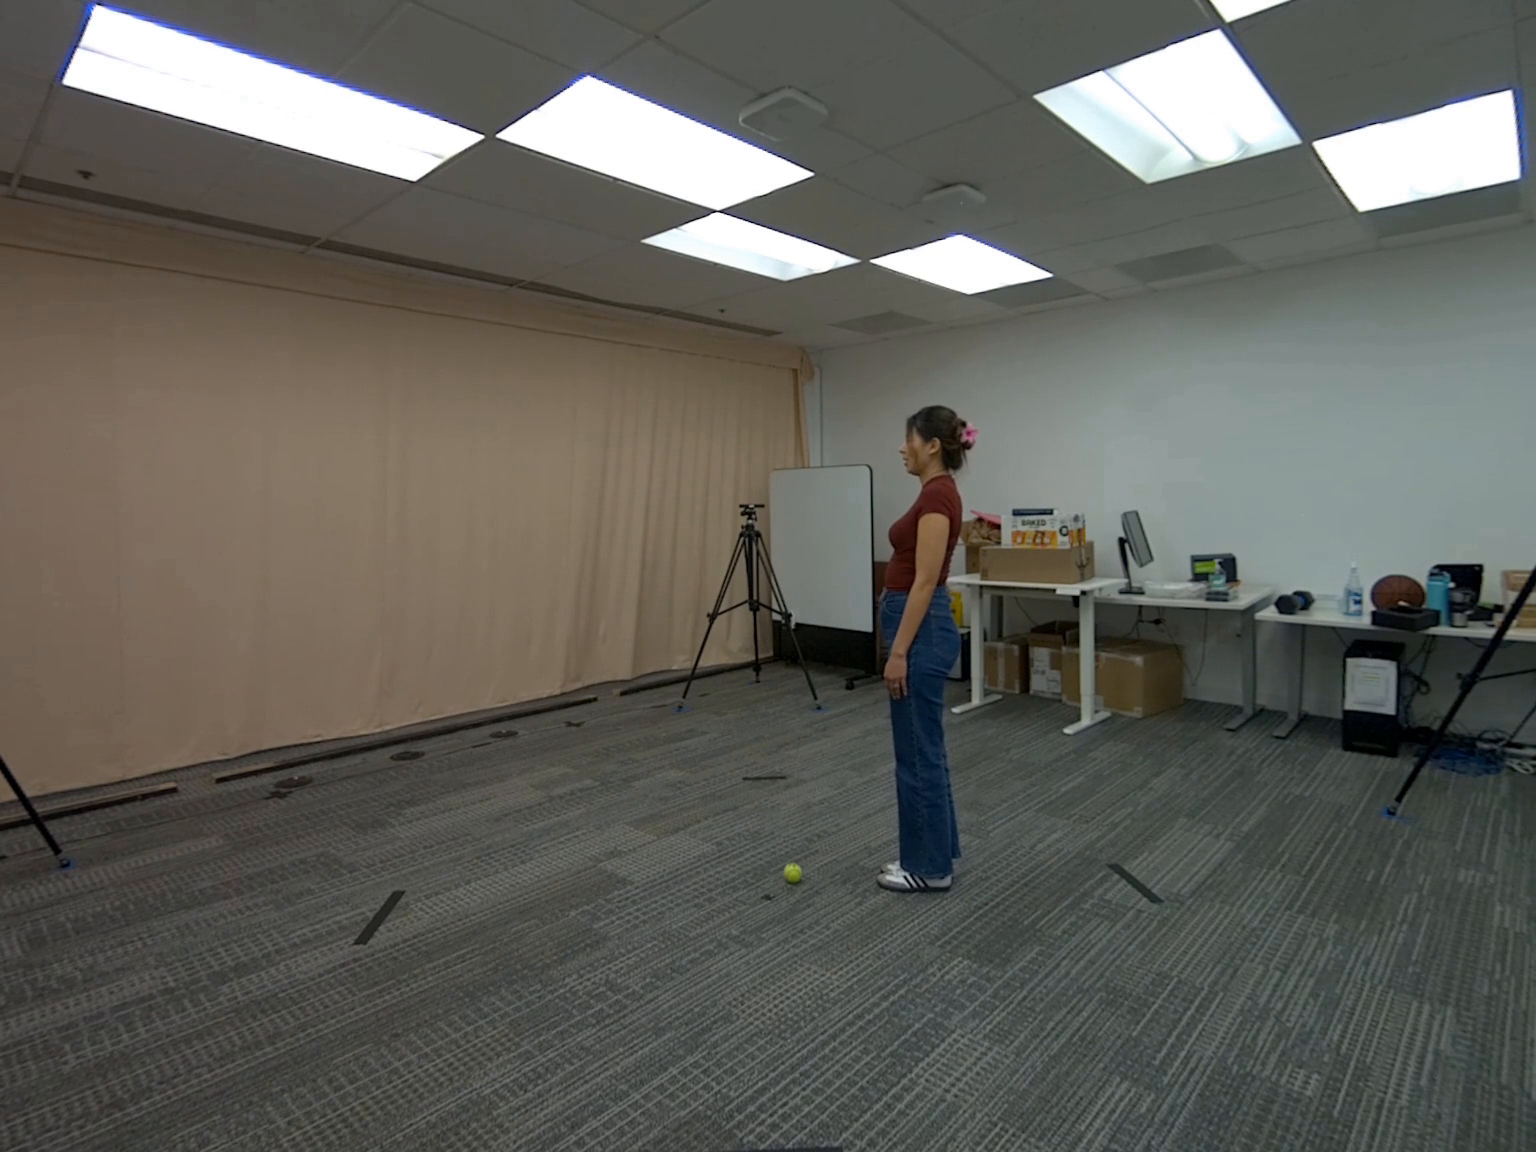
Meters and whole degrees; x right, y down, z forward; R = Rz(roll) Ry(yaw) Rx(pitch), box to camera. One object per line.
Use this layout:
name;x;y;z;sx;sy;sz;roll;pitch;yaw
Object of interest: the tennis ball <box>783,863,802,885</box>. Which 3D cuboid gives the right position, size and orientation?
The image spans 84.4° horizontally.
tennis ball;0.104;1.092;3.105;0.066;0.066;0.067;-1;4;-2
